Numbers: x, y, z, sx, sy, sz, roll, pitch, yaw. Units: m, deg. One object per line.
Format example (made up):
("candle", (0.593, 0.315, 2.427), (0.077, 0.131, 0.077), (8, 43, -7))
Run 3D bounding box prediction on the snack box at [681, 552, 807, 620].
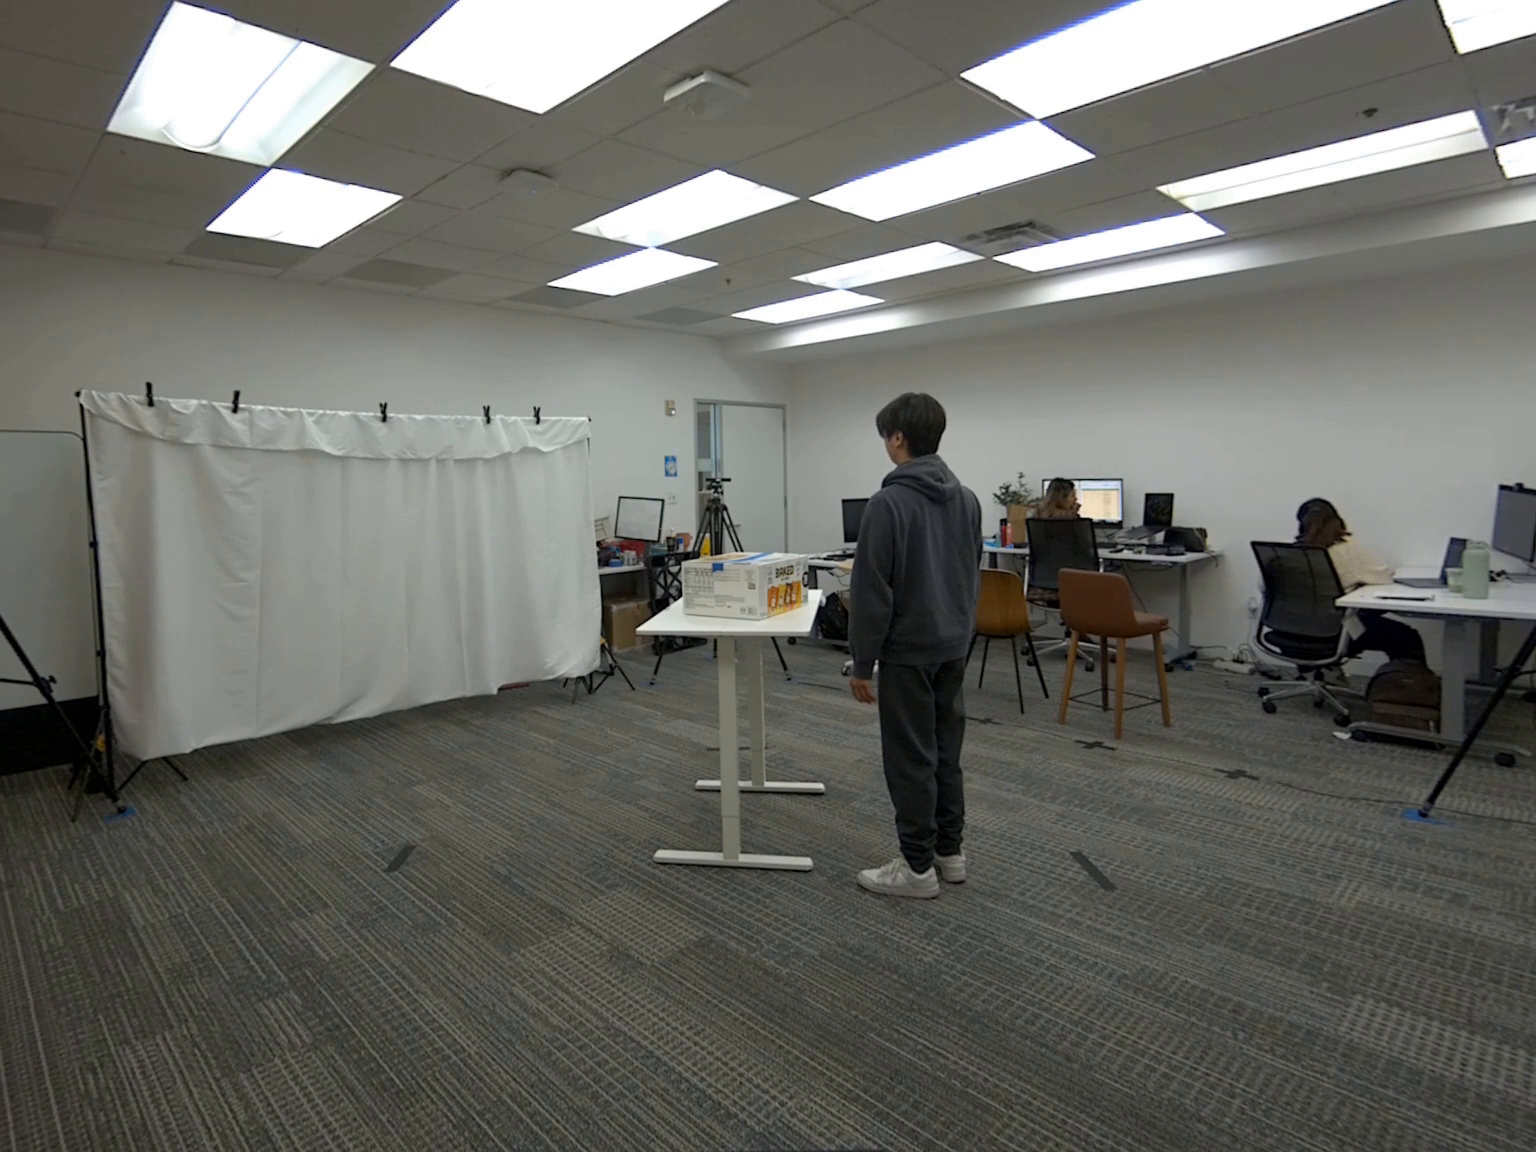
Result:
("snack box", (-0.080, 0.032, 3.338), (0.349, 0.205, 0.396), (2, 7, 30))
